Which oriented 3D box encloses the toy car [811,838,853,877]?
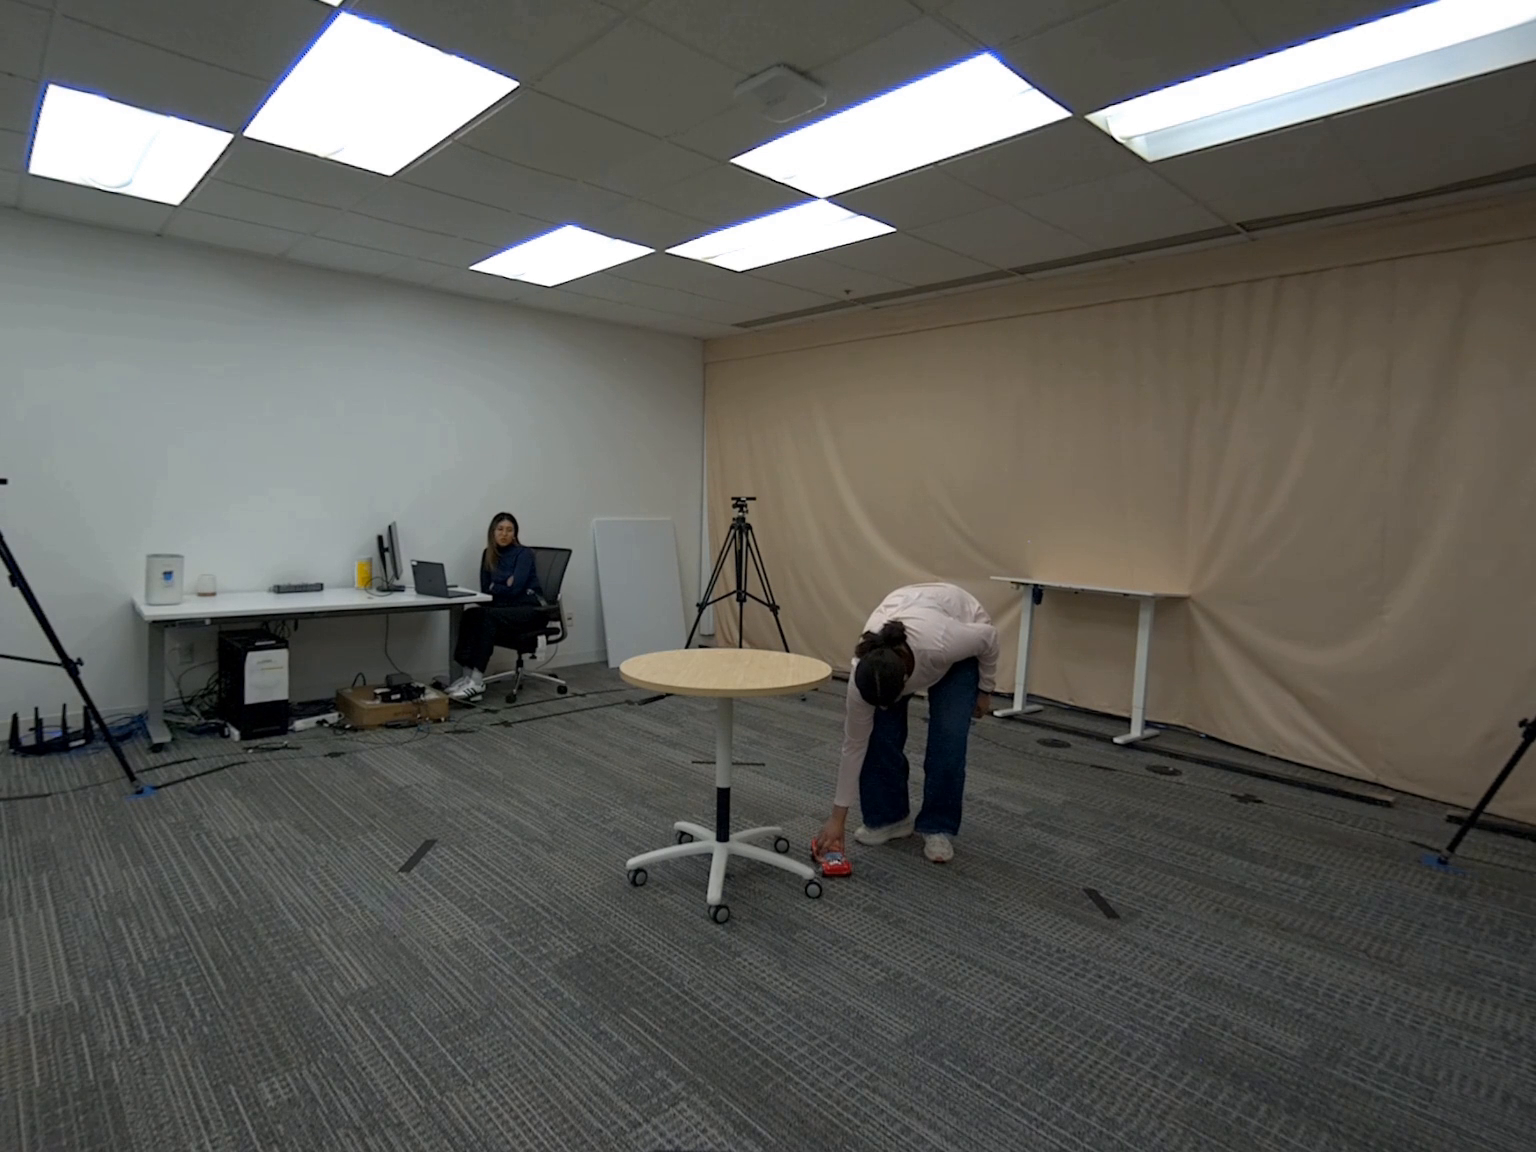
[{"bbox_3d":[0.228,1.073,3.215,0.129,0.082,0.258,-1,14,-9],"label":"toy car"}]
